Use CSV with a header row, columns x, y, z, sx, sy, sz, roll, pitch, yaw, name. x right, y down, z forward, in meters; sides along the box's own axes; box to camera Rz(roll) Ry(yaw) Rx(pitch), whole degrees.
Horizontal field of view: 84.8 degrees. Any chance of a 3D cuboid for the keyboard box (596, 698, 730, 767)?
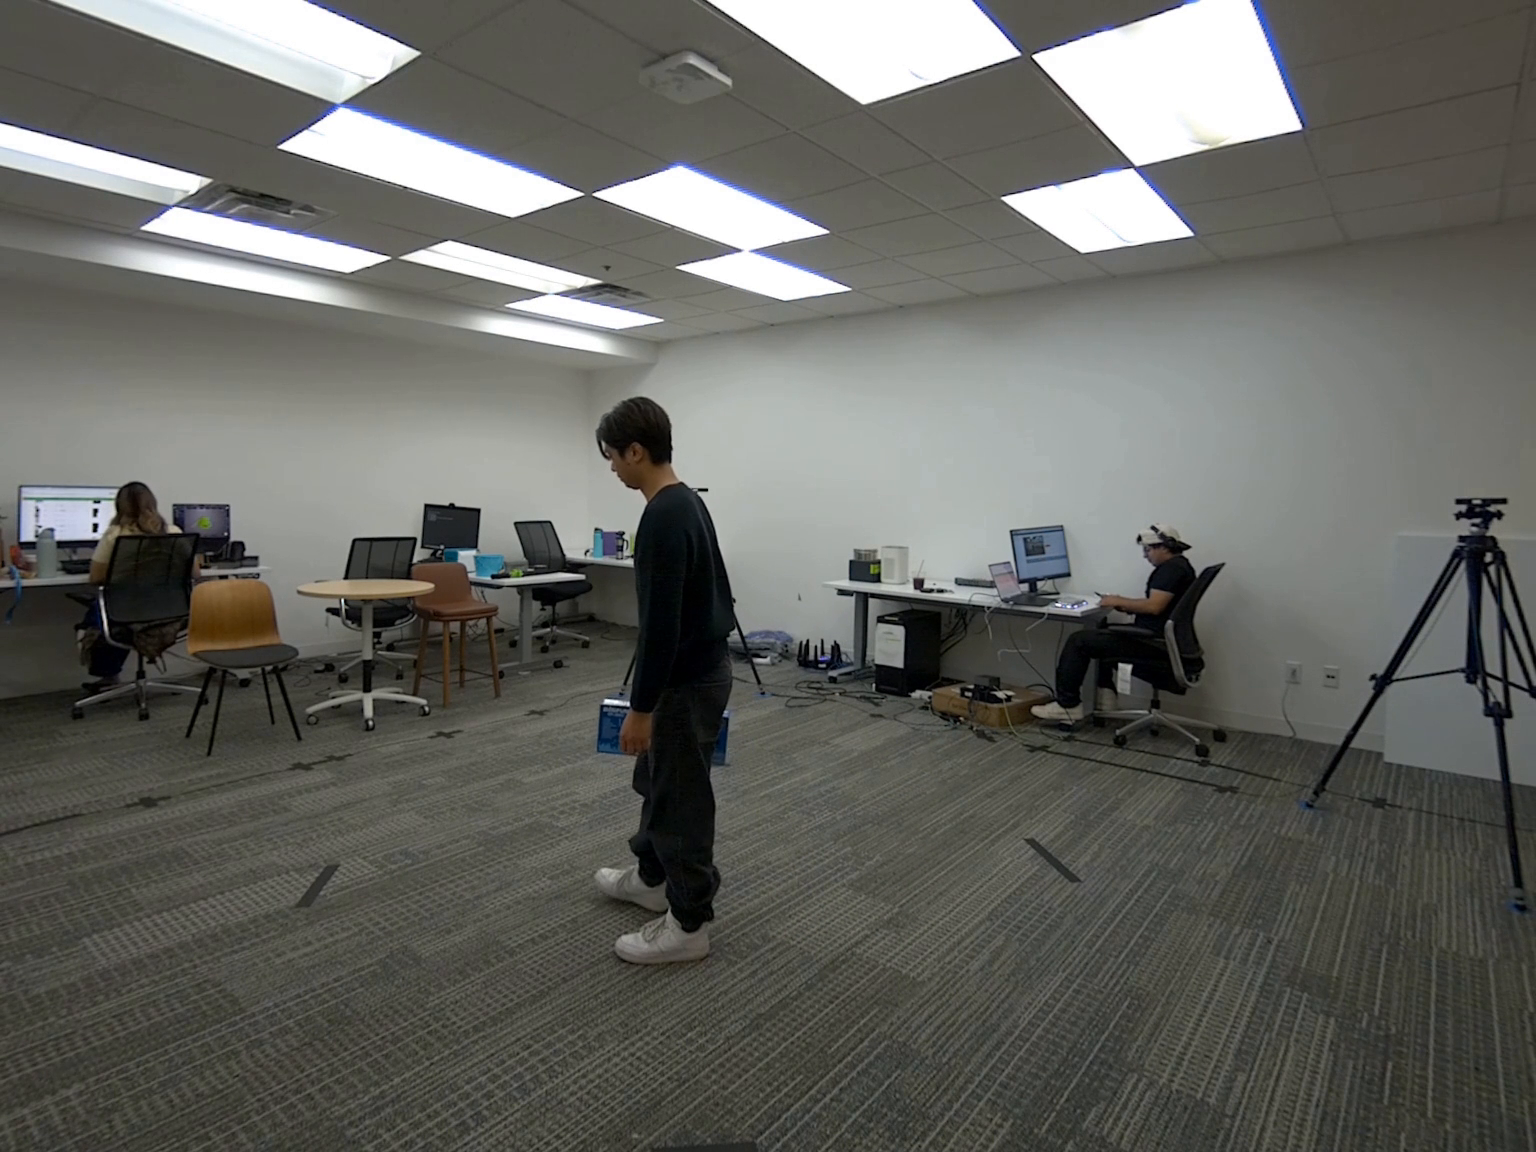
x,y,z,sx,sy,sz,roll,pitch,yaw,name
-0.366,0.519,2.874,0.438,0.175,0.059,4,5,2,keyboard box
